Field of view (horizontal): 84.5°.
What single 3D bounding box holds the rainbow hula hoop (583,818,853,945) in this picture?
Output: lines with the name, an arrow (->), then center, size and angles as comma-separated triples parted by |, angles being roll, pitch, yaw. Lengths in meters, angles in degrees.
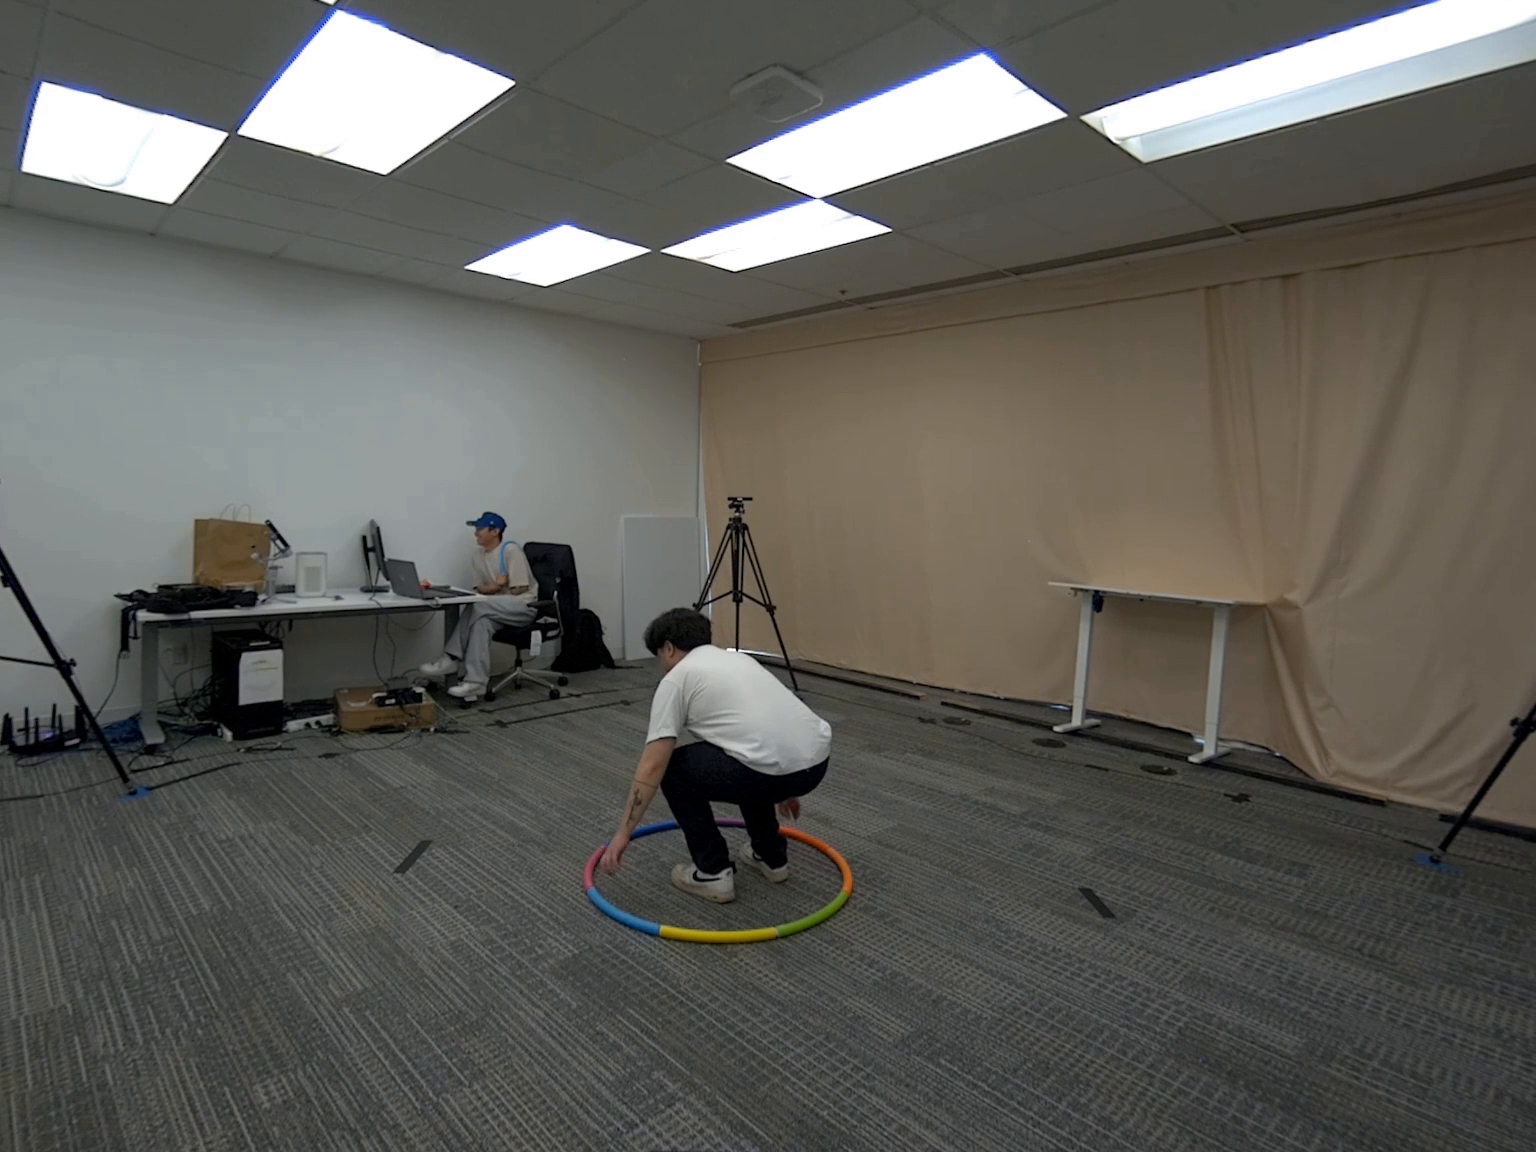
rainbow hula hoop -> -0.189, 1.080, 3.109 | 0.985, 0.051, 0.989 | 1, 5, -1
